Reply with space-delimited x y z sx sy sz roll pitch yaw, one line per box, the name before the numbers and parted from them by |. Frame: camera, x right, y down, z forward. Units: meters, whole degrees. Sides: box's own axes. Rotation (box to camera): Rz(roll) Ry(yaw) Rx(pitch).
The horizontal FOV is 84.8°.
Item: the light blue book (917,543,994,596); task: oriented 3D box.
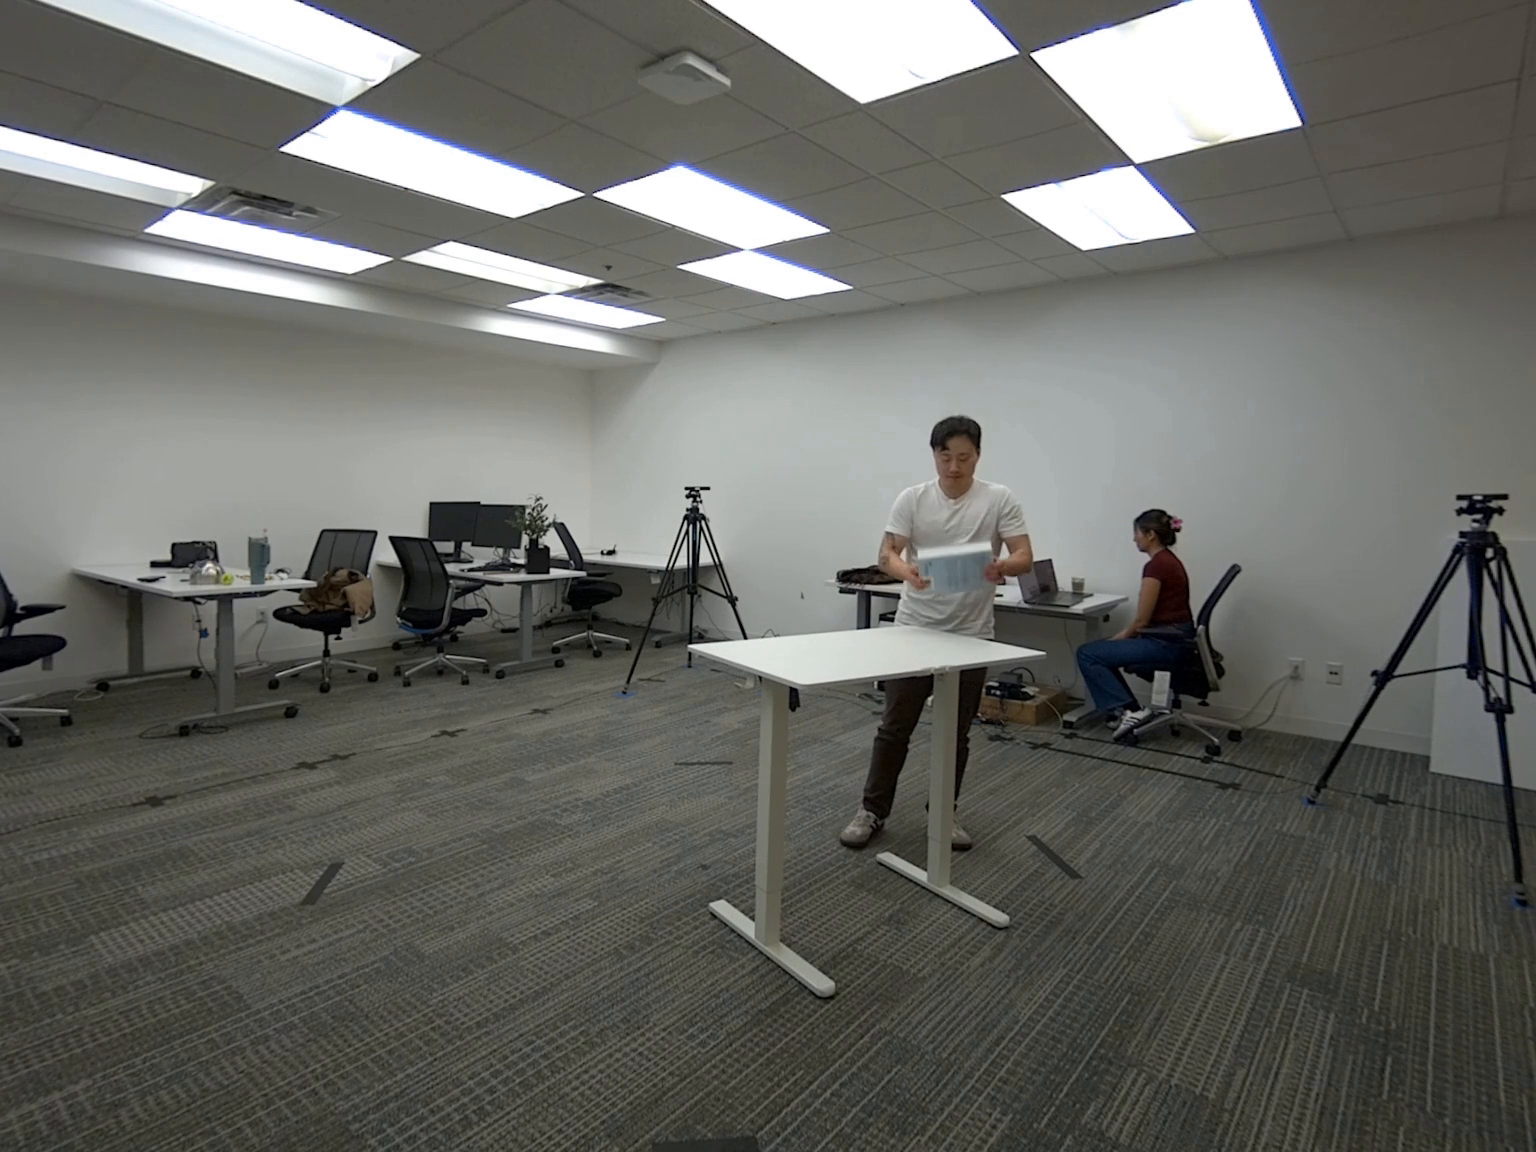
light blue book | 0.675 -0.047 3.068 0.263 0.185 0.060 -7 33 9
